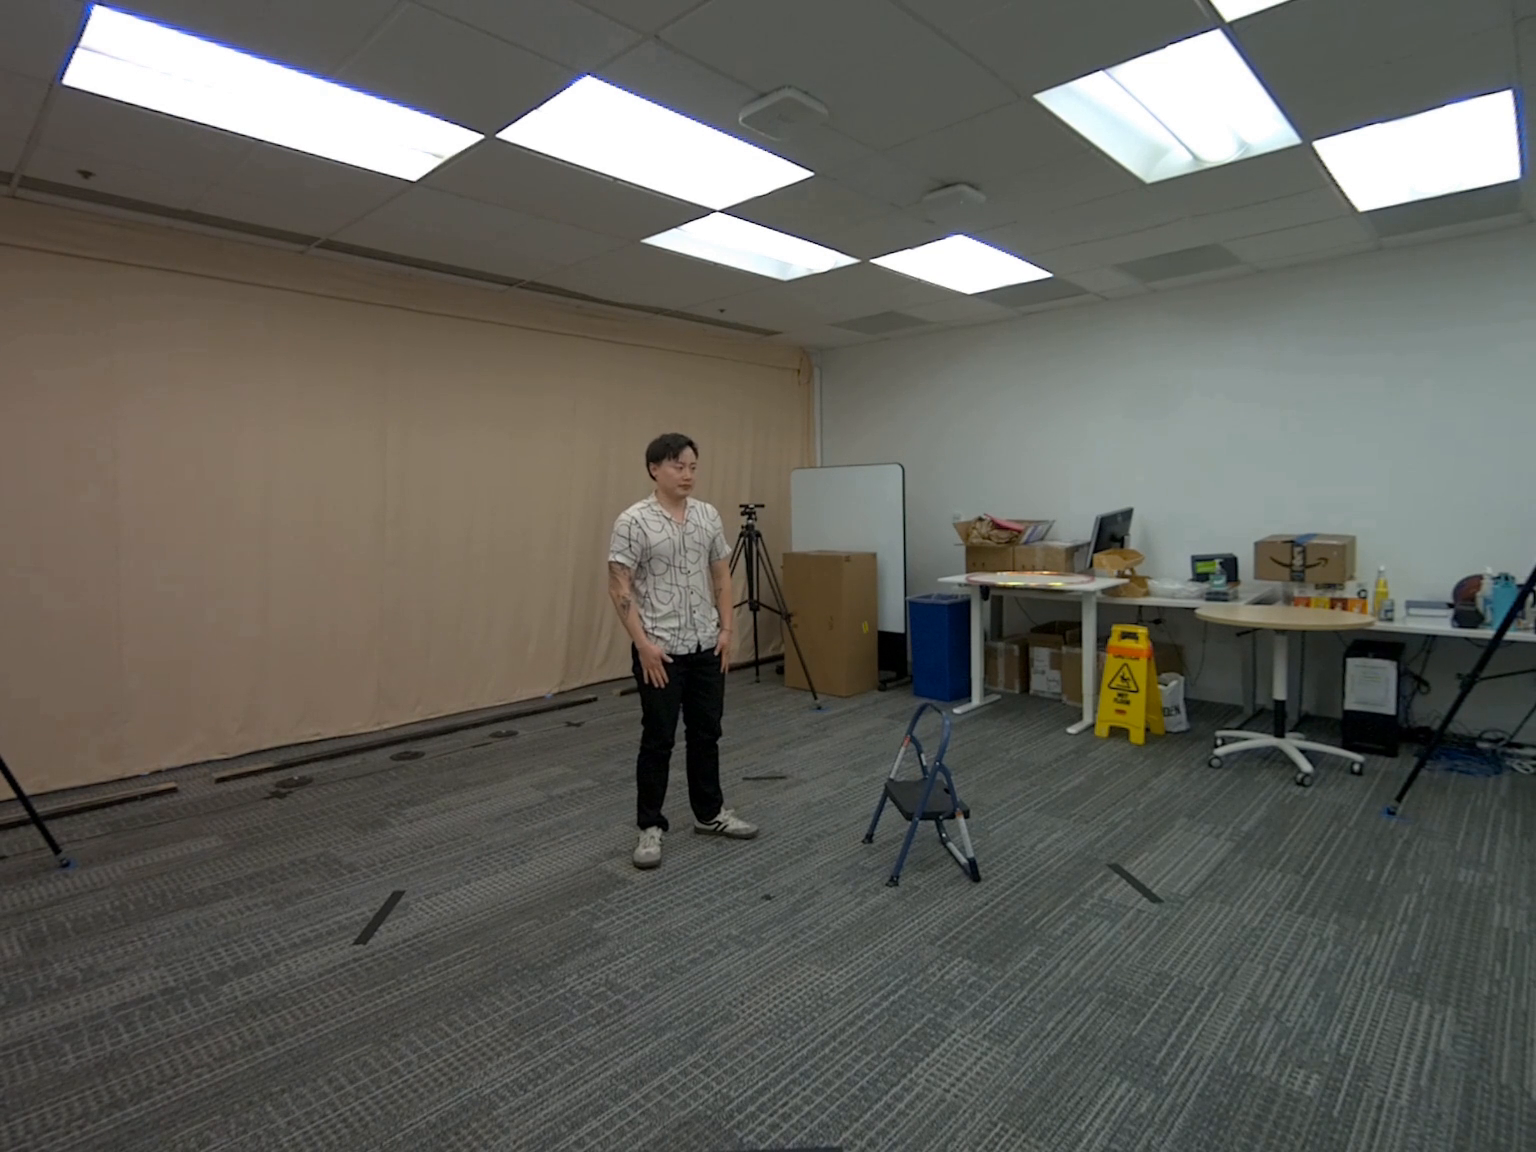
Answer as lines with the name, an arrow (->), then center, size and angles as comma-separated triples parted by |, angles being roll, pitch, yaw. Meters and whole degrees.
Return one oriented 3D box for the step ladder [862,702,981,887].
step ladder -> 0.593, 0.805, 3.249 | 0.348, 0.605, 0.434 | -1, 4, -5
